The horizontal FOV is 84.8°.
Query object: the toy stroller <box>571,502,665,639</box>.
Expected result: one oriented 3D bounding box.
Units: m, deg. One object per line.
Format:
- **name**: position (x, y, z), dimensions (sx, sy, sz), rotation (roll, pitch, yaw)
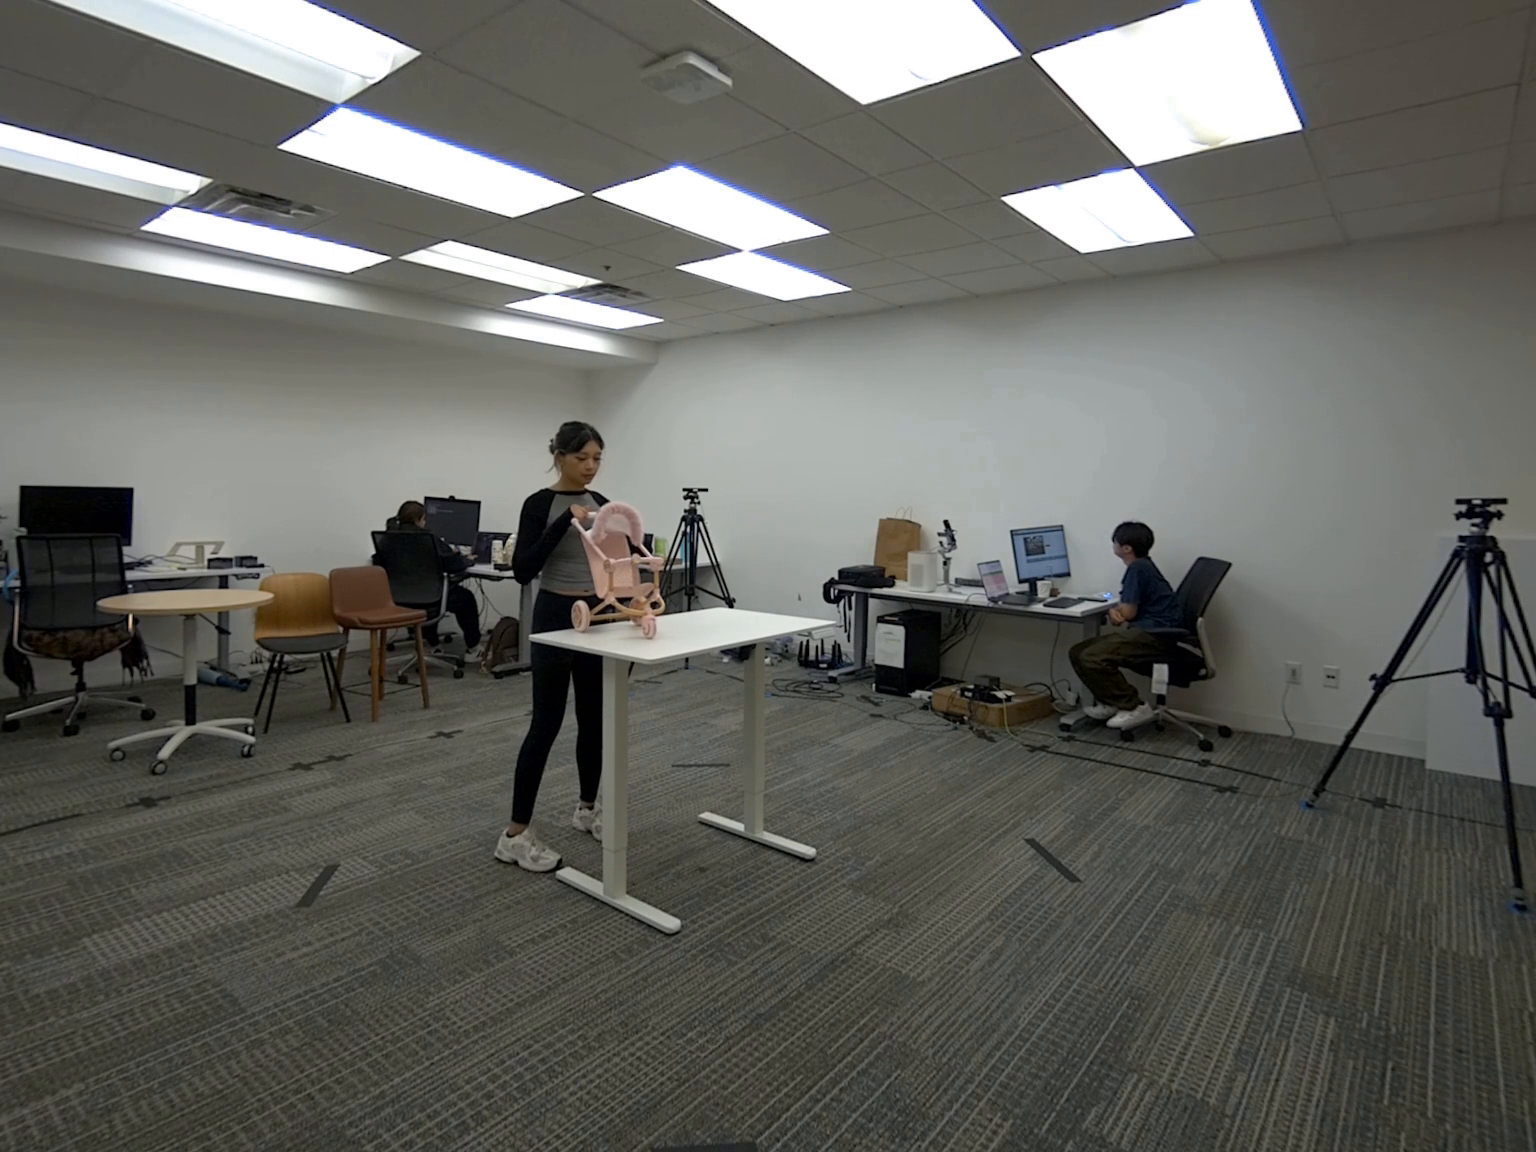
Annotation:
- **toy stroller**: position (-0.536, -0.029, 3.007), dimensions (0.273, 0.542, 0.347), rotation (-1, -13, -36)
